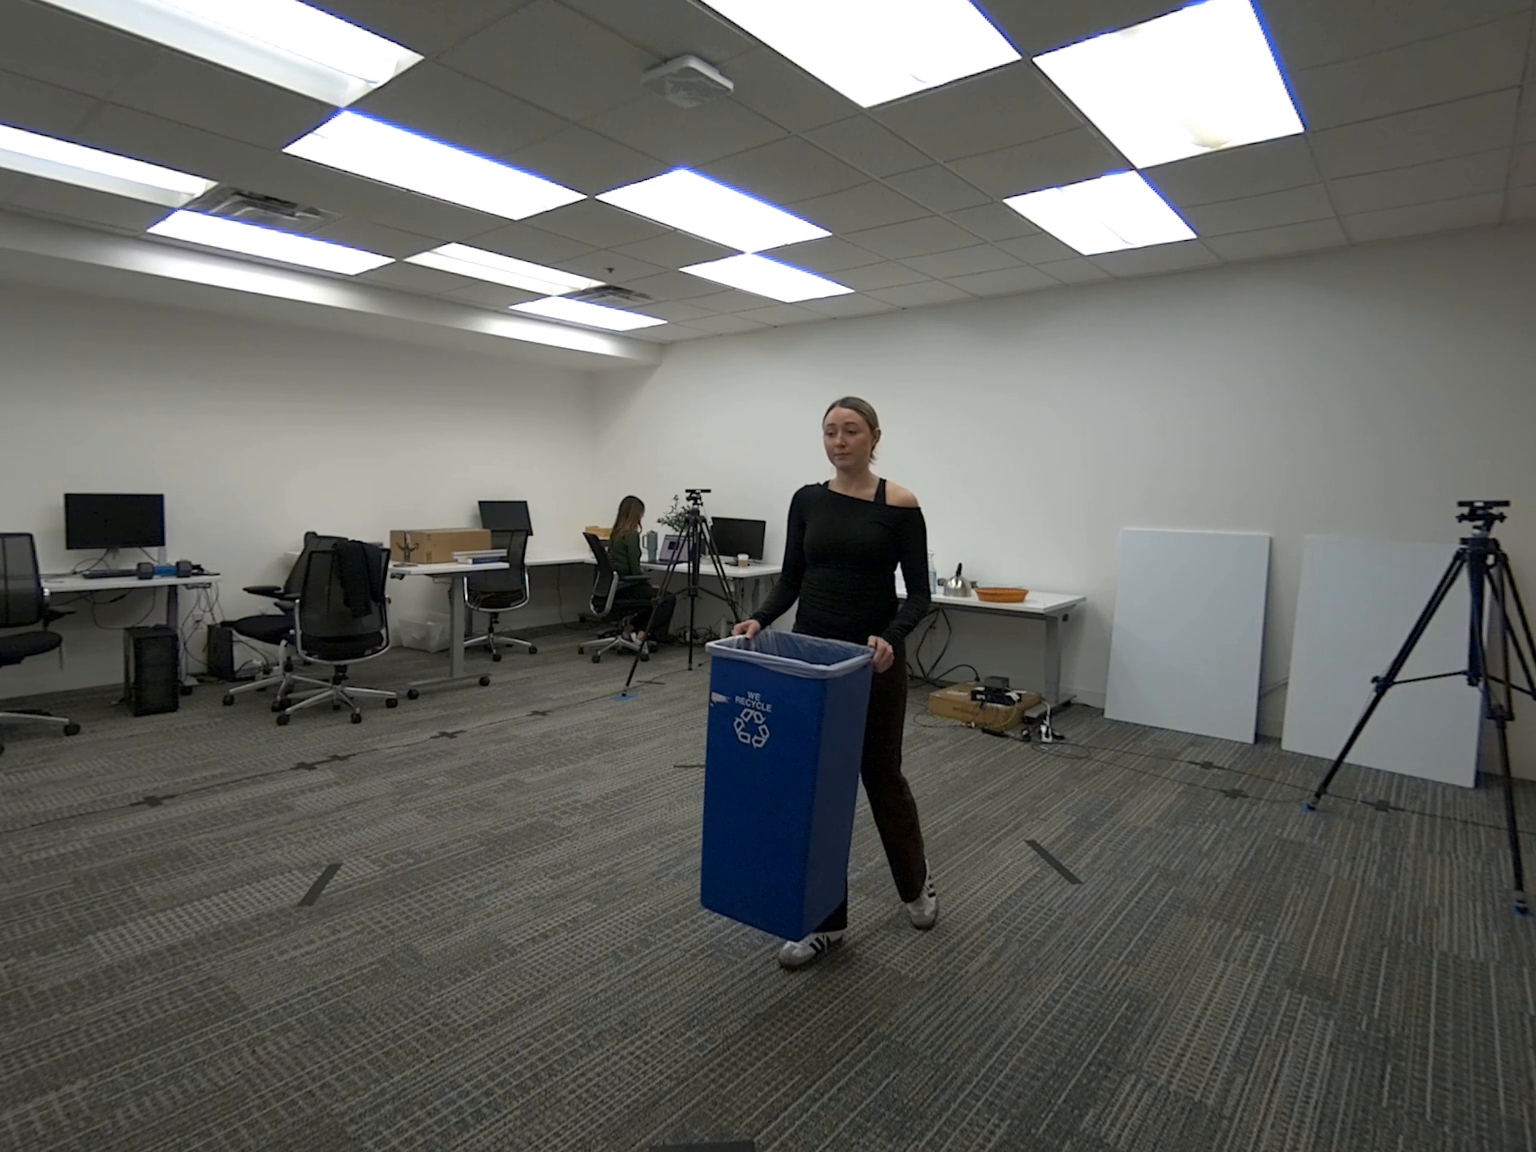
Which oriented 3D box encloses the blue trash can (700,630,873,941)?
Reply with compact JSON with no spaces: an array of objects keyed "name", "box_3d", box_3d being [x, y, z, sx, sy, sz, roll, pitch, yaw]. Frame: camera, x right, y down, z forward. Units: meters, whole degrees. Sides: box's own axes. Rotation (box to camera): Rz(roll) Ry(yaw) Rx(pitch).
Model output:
[{"name":"blue trash can","box_3d":[0.051,0.543,2.305,0.386,0.711,0.368,6,5,31]}]
